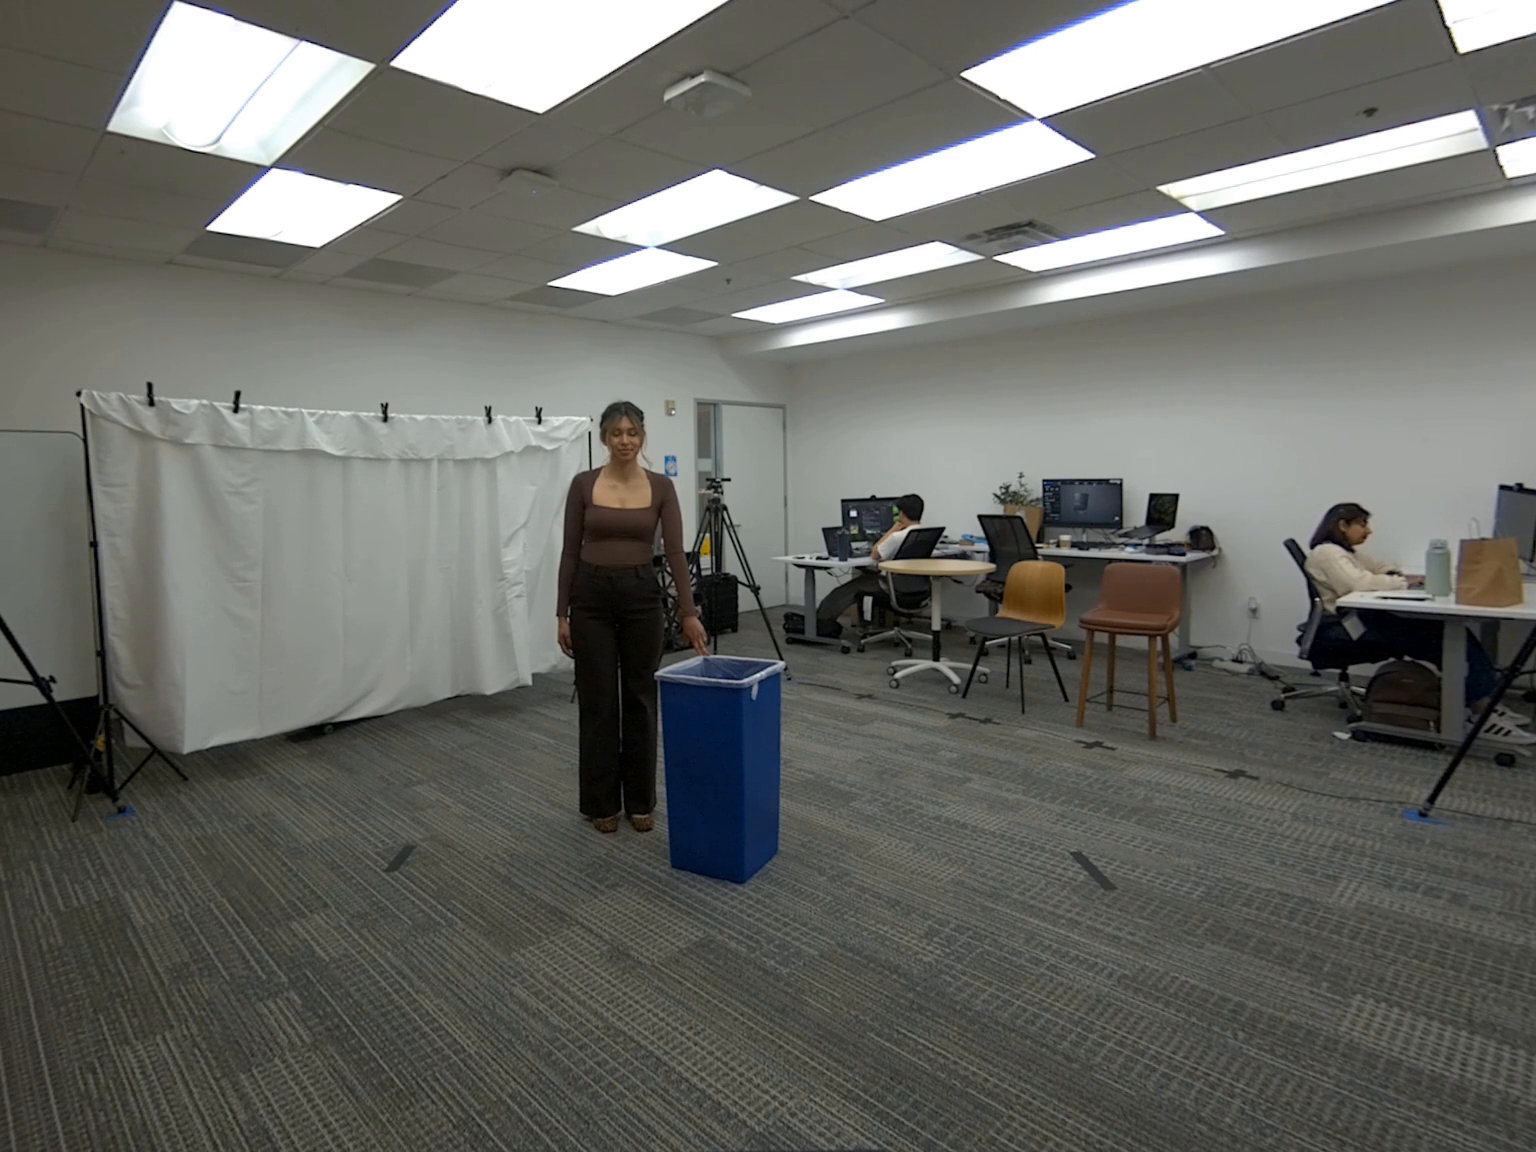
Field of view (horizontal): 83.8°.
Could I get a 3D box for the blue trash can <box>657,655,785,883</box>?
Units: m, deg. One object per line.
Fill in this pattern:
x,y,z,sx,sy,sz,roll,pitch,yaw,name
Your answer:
-0.165,0.683,3.118,0.383,0.711,0.370,2,4,27,blue trash can
